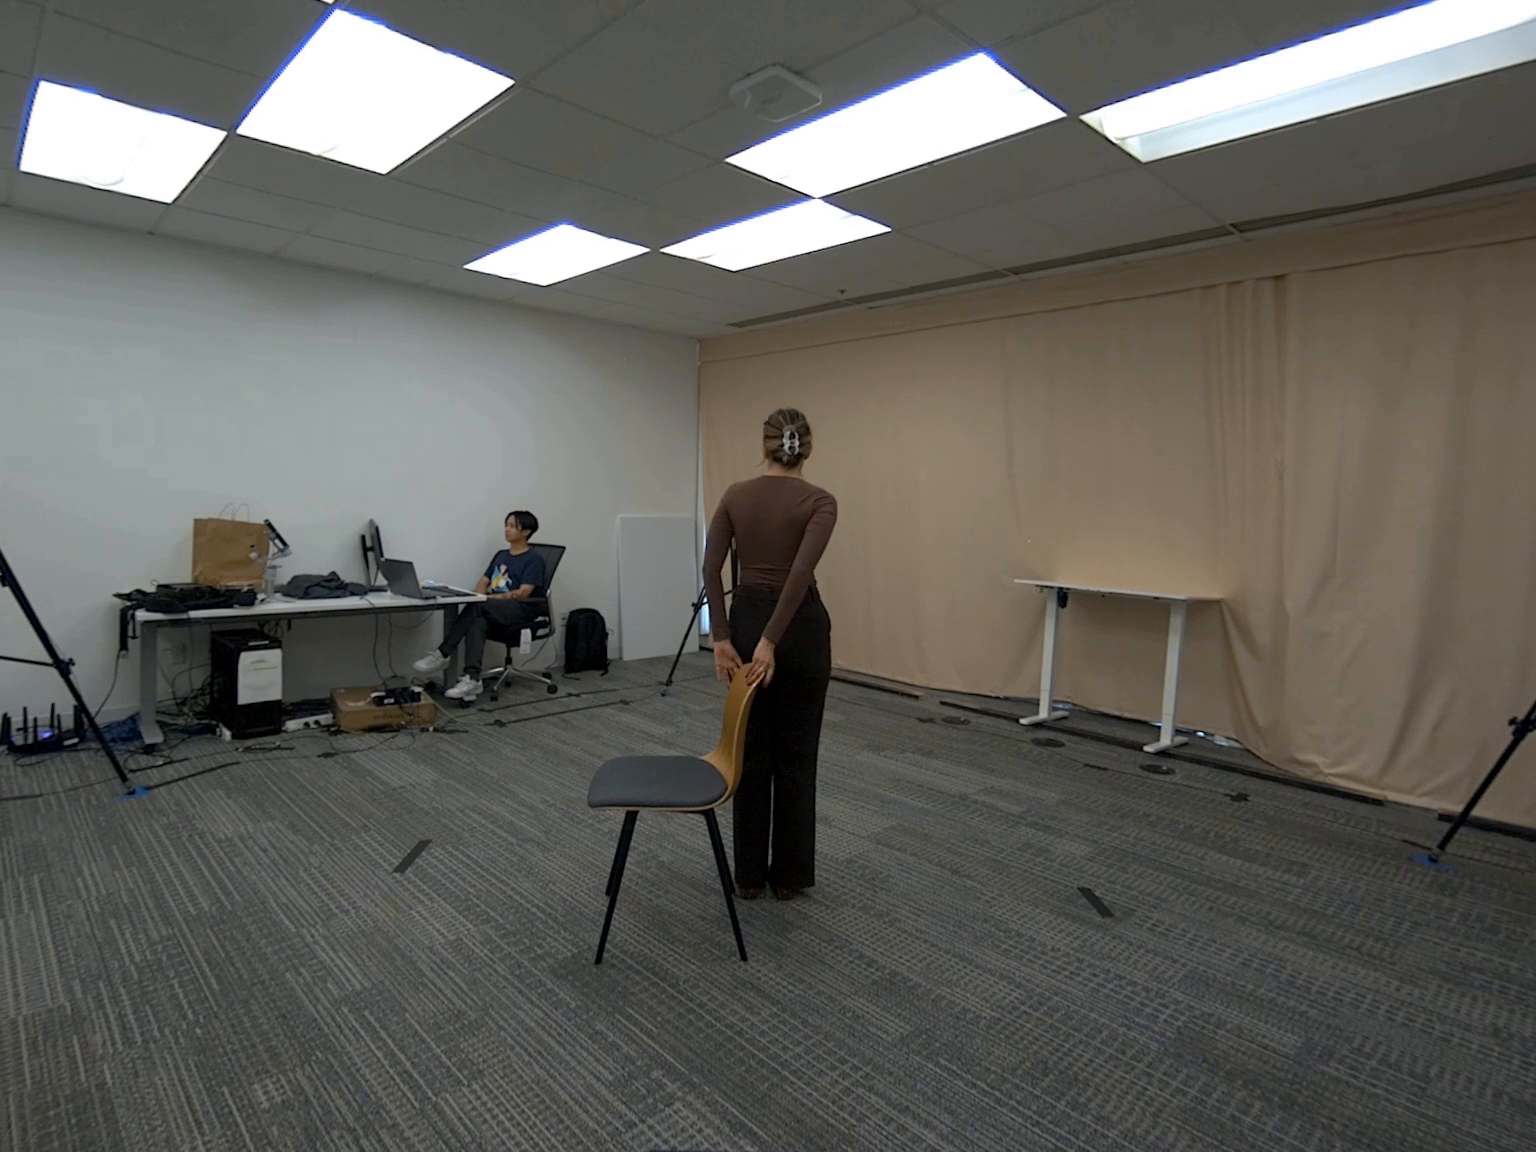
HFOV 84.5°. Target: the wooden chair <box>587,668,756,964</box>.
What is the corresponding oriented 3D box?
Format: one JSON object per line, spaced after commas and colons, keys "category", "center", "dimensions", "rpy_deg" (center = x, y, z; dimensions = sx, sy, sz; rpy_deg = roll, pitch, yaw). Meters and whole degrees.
{"category": "wooden chair", "center": [-0.321, 0.709, 2.698], "dimensions": [0.521, 0.875, 0.481], "rpy_deg": [5, 3, -5]}
